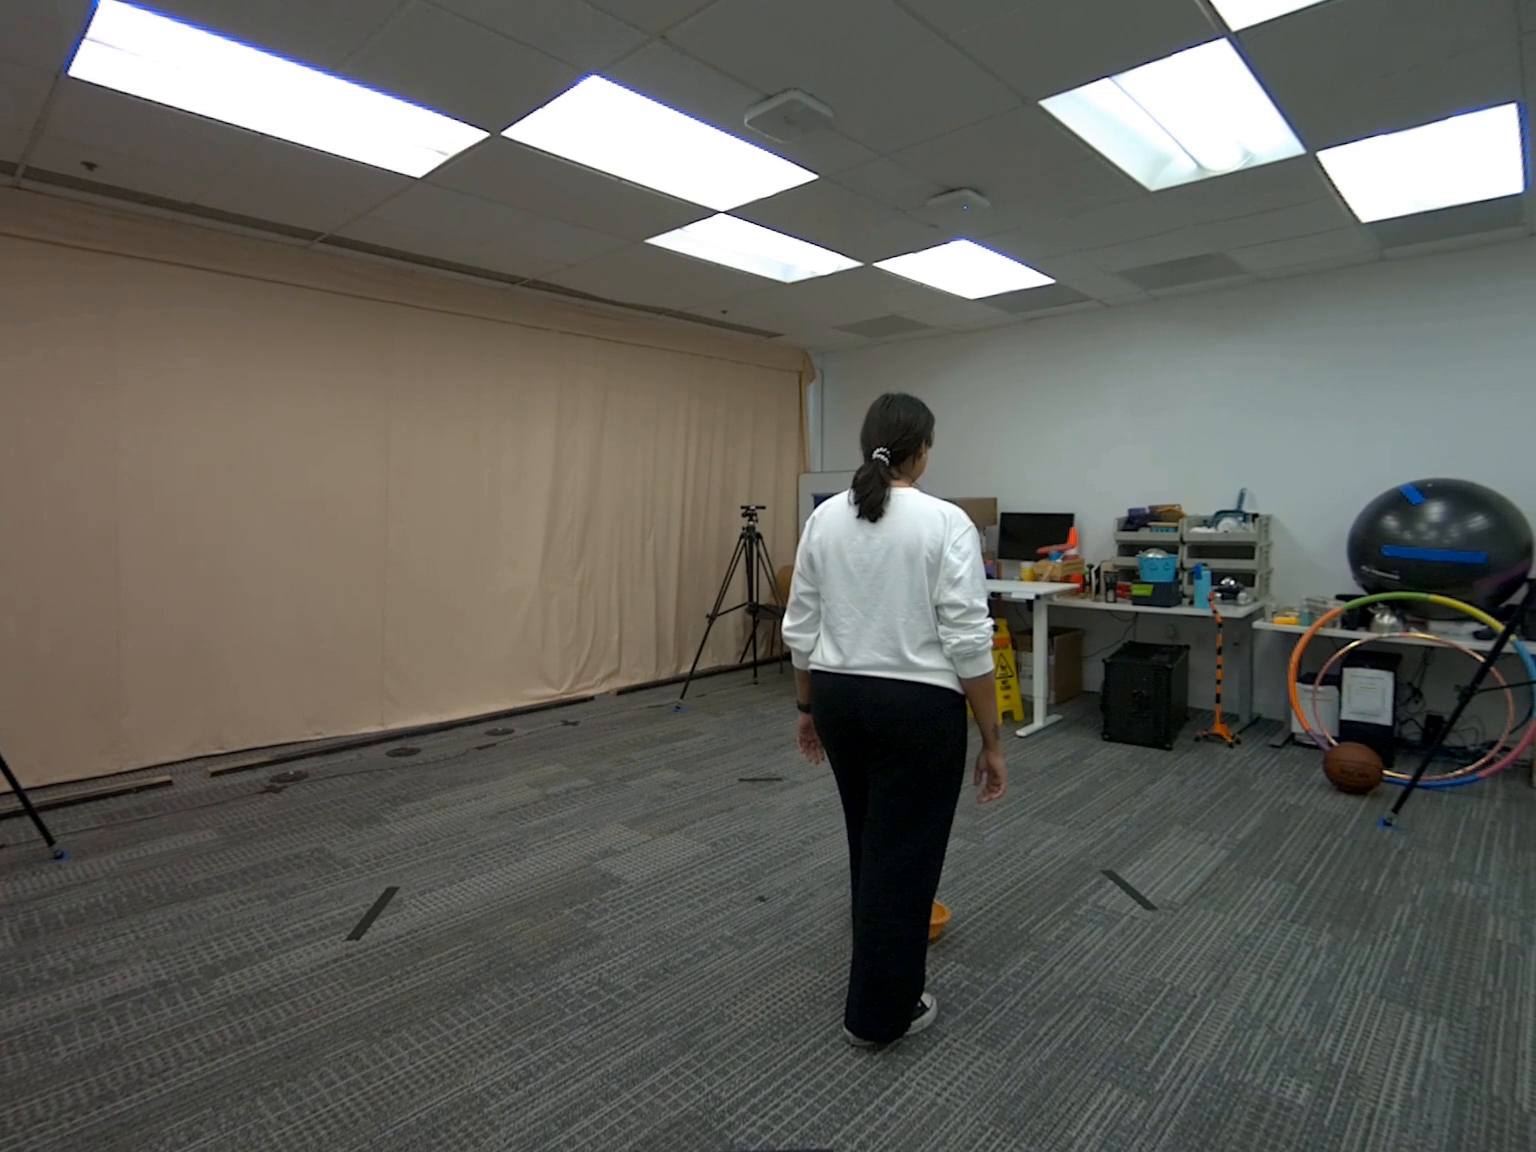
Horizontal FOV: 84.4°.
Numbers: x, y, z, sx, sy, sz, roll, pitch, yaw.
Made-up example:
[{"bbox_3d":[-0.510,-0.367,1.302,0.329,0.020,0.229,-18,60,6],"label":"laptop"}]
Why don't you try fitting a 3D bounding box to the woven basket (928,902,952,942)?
[{"bbox_3d":[0.442,1.114,2.784,0.244,0.073,0.361,4,-1,-36],"label":"woven basket"}]
